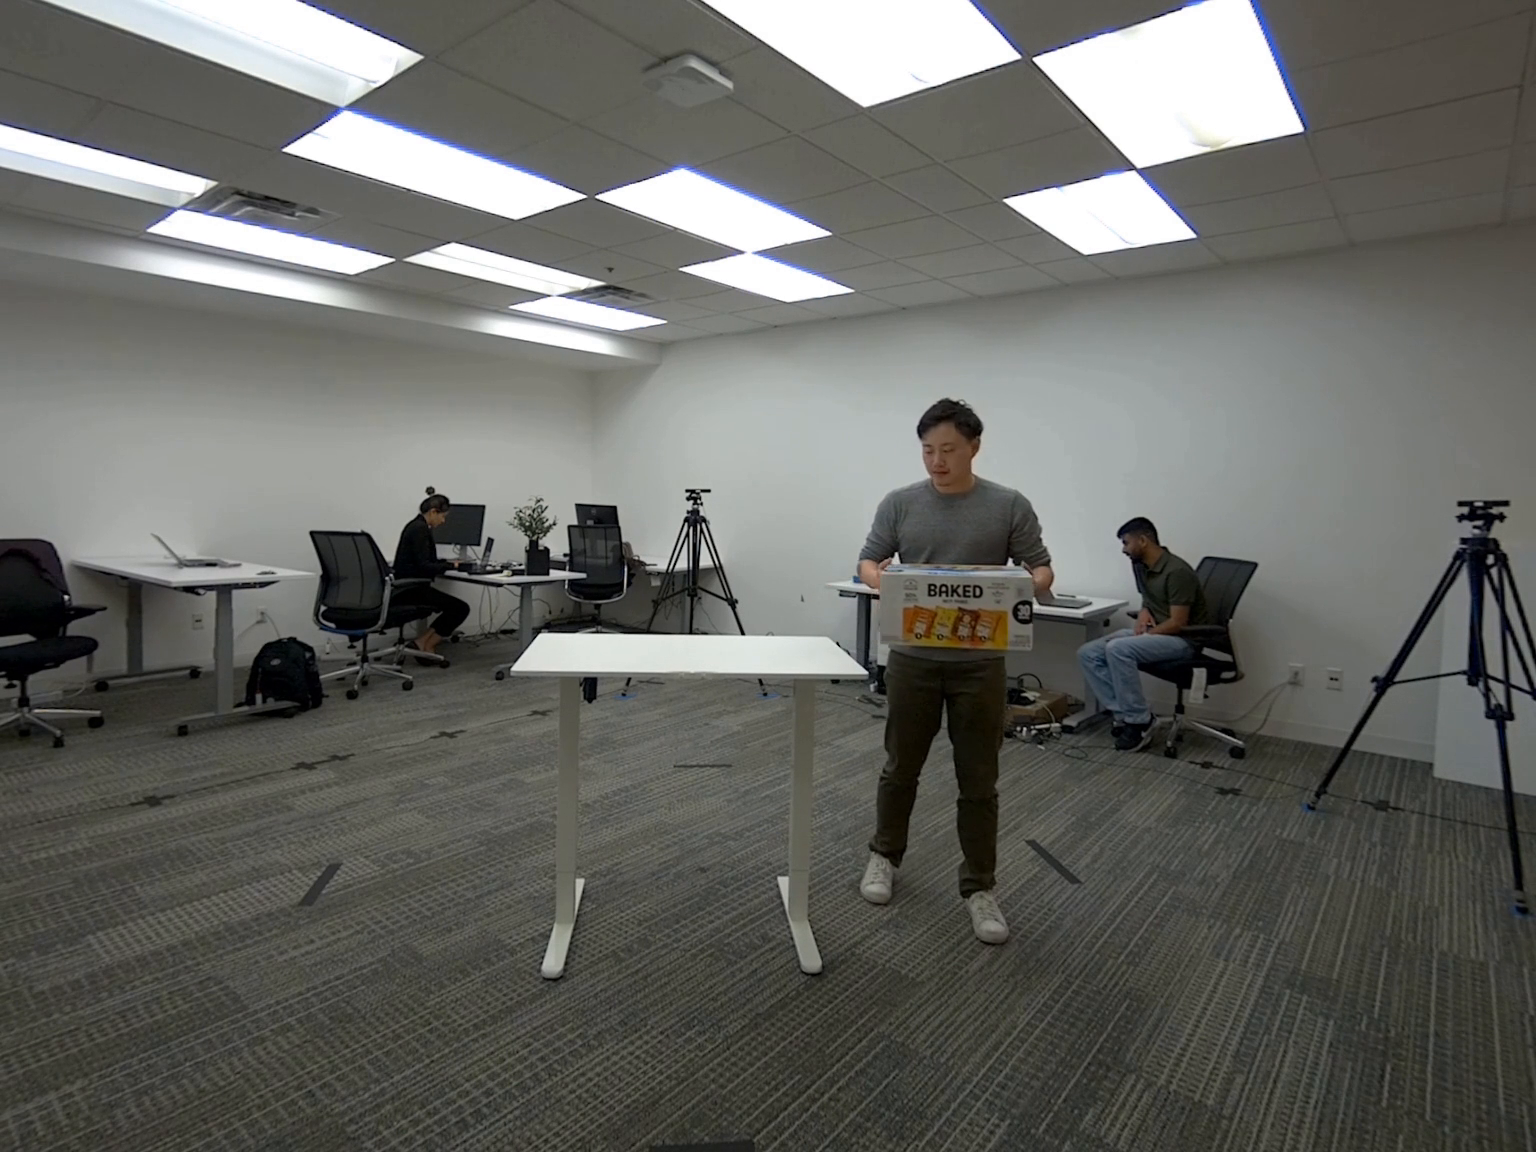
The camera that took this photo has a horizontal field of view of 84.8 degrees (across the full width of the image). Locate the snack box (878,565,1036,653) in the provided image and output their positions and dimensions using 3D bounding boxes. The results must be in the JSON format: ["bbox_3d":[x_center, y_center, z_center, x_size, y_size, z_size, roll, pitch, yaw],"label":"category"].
[{"bbox_3d":[0.536,0.078,2.489,0.412,0.205,0.336,1,4,14],"label":"snack box"}]
